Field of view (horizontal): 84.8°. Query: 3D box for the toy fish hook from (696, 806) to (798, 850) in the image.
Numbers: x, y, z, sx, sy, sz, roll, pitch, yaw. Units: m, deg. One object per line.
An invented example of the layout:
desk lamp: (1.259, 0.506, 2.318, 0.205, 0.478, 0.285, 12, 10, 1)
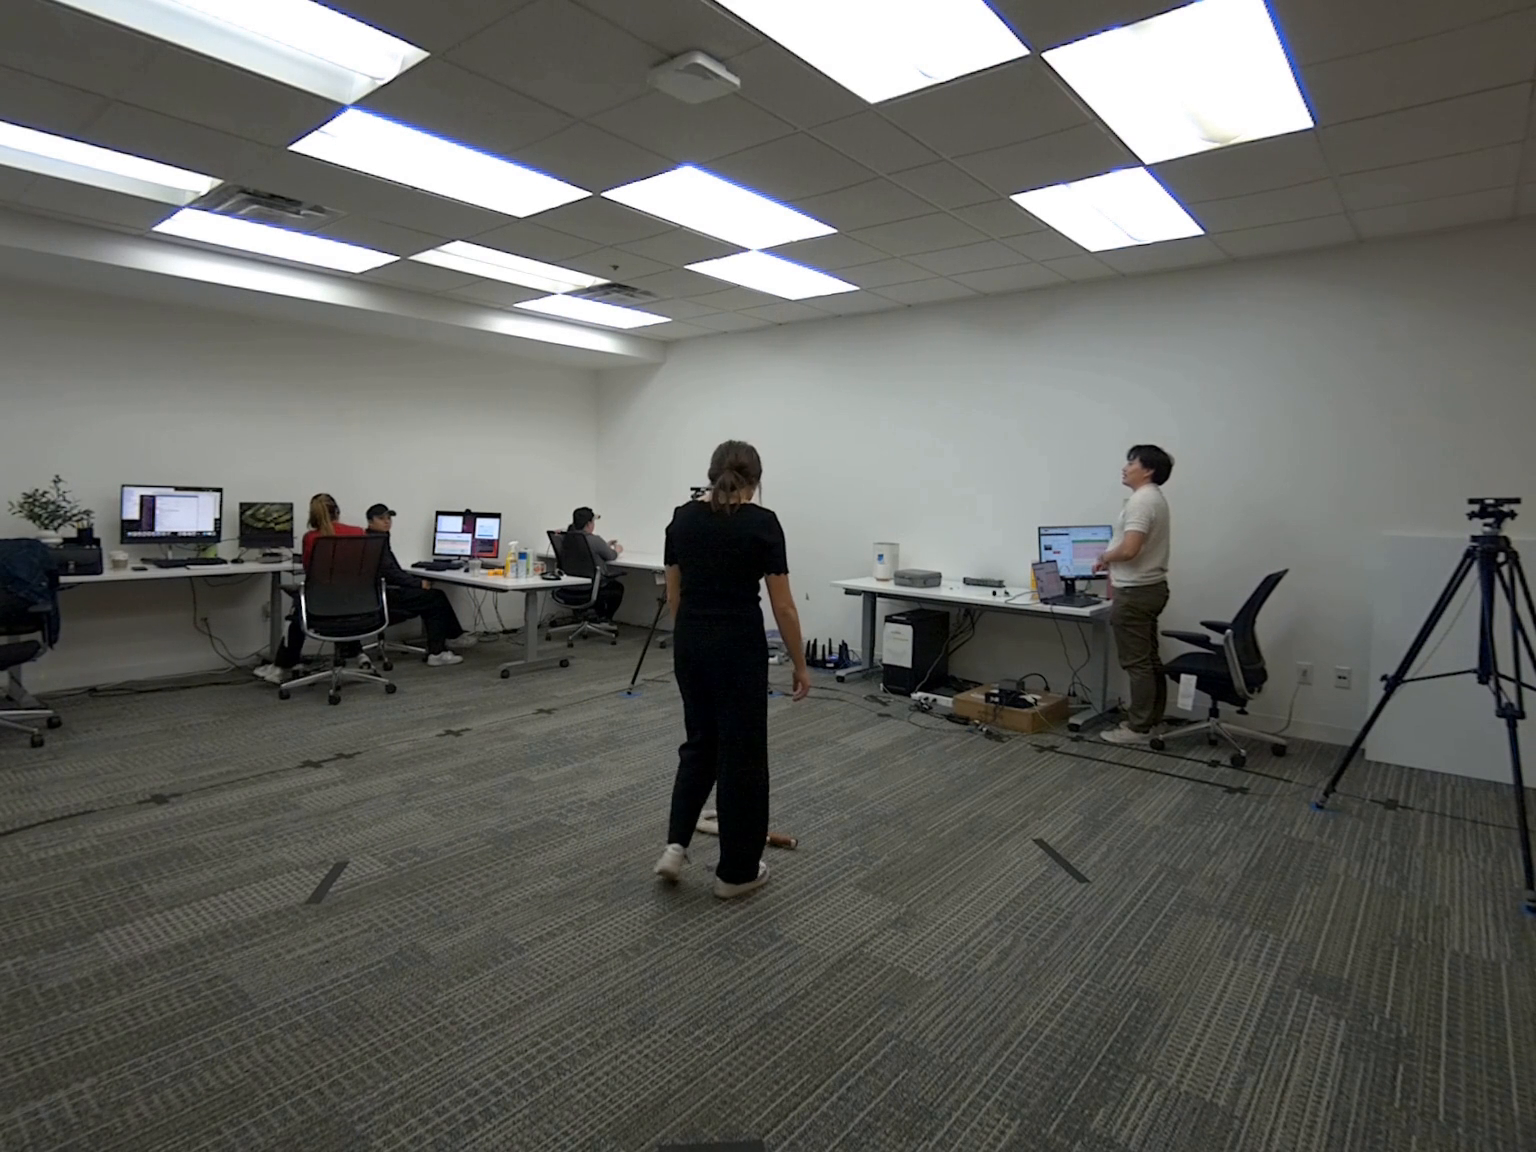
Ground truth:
toy fish hook: (-0.101, 1.011, 3.451, 0.521, 0.048, 0.219, 4, 8, 28)
